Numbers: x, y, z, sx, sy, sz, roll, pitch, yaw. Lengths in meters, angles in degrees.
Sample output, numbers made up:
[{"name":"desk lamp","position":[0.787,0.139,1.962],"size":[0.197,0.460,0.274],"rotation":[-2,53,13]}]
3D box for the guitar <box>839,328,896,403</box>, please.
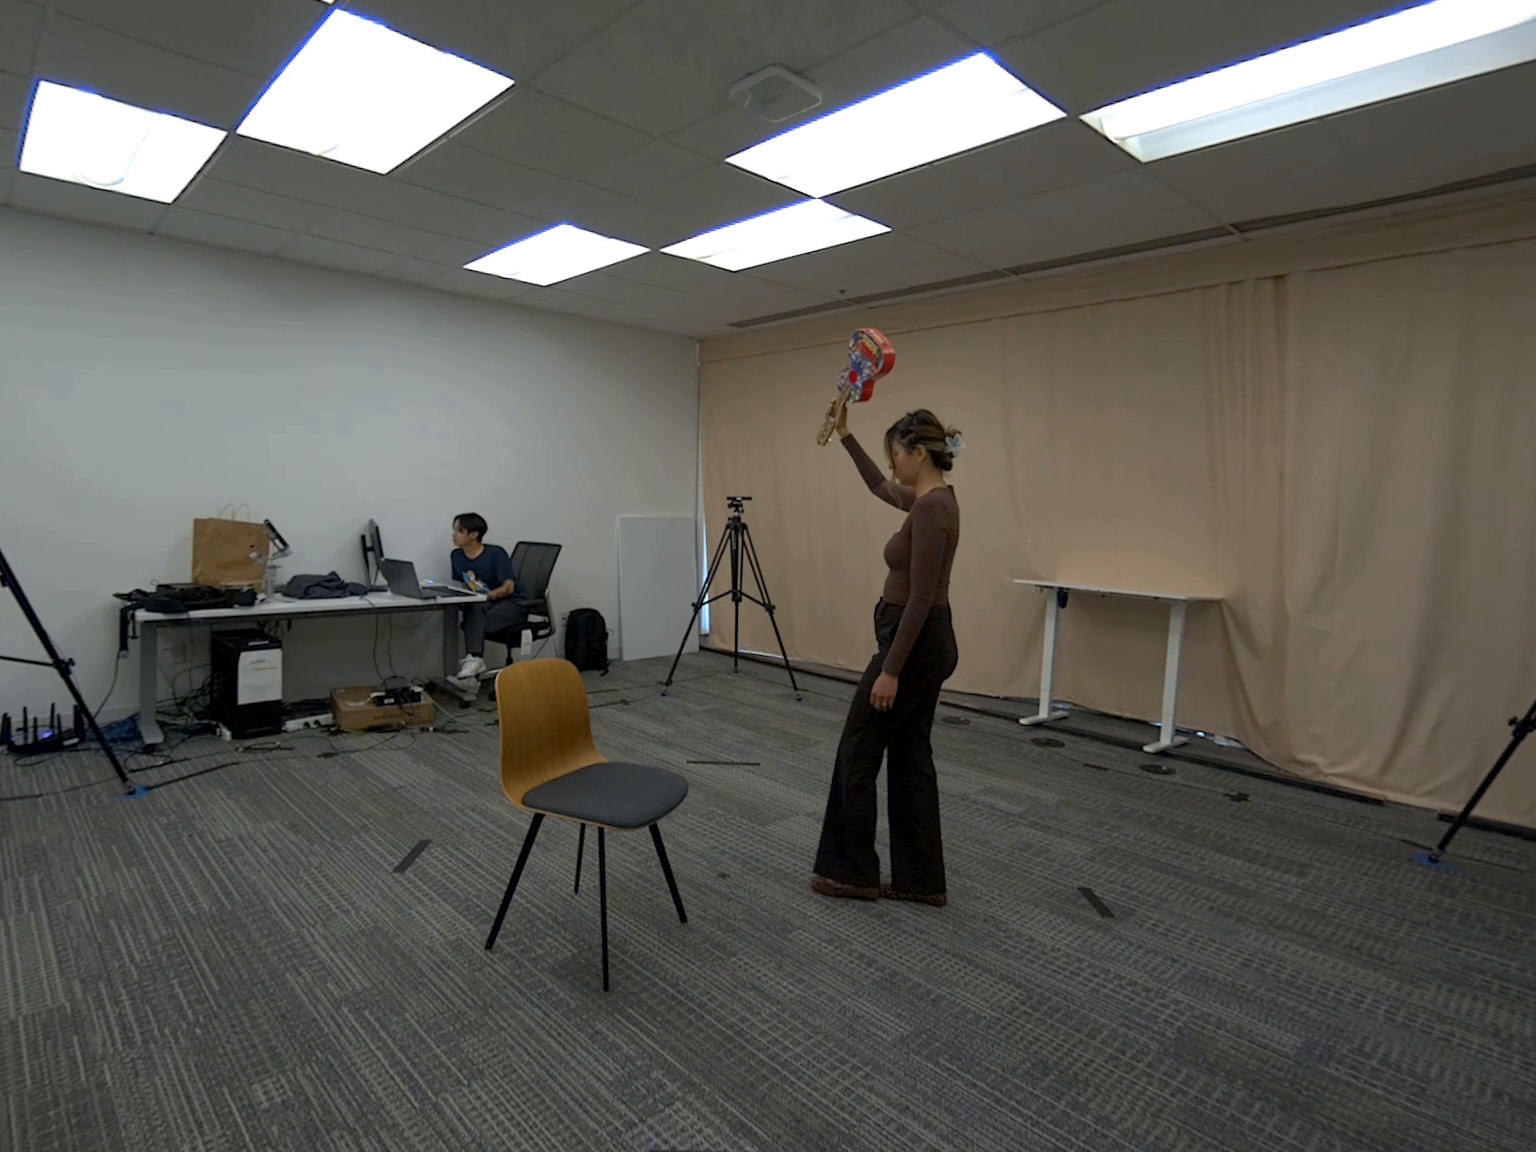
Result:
[{"name":"guitar","position":[0.289,-0.712,3.188],"size":[0.069,0.197,0.496],"rotation":[-12,-27,-35]}]
